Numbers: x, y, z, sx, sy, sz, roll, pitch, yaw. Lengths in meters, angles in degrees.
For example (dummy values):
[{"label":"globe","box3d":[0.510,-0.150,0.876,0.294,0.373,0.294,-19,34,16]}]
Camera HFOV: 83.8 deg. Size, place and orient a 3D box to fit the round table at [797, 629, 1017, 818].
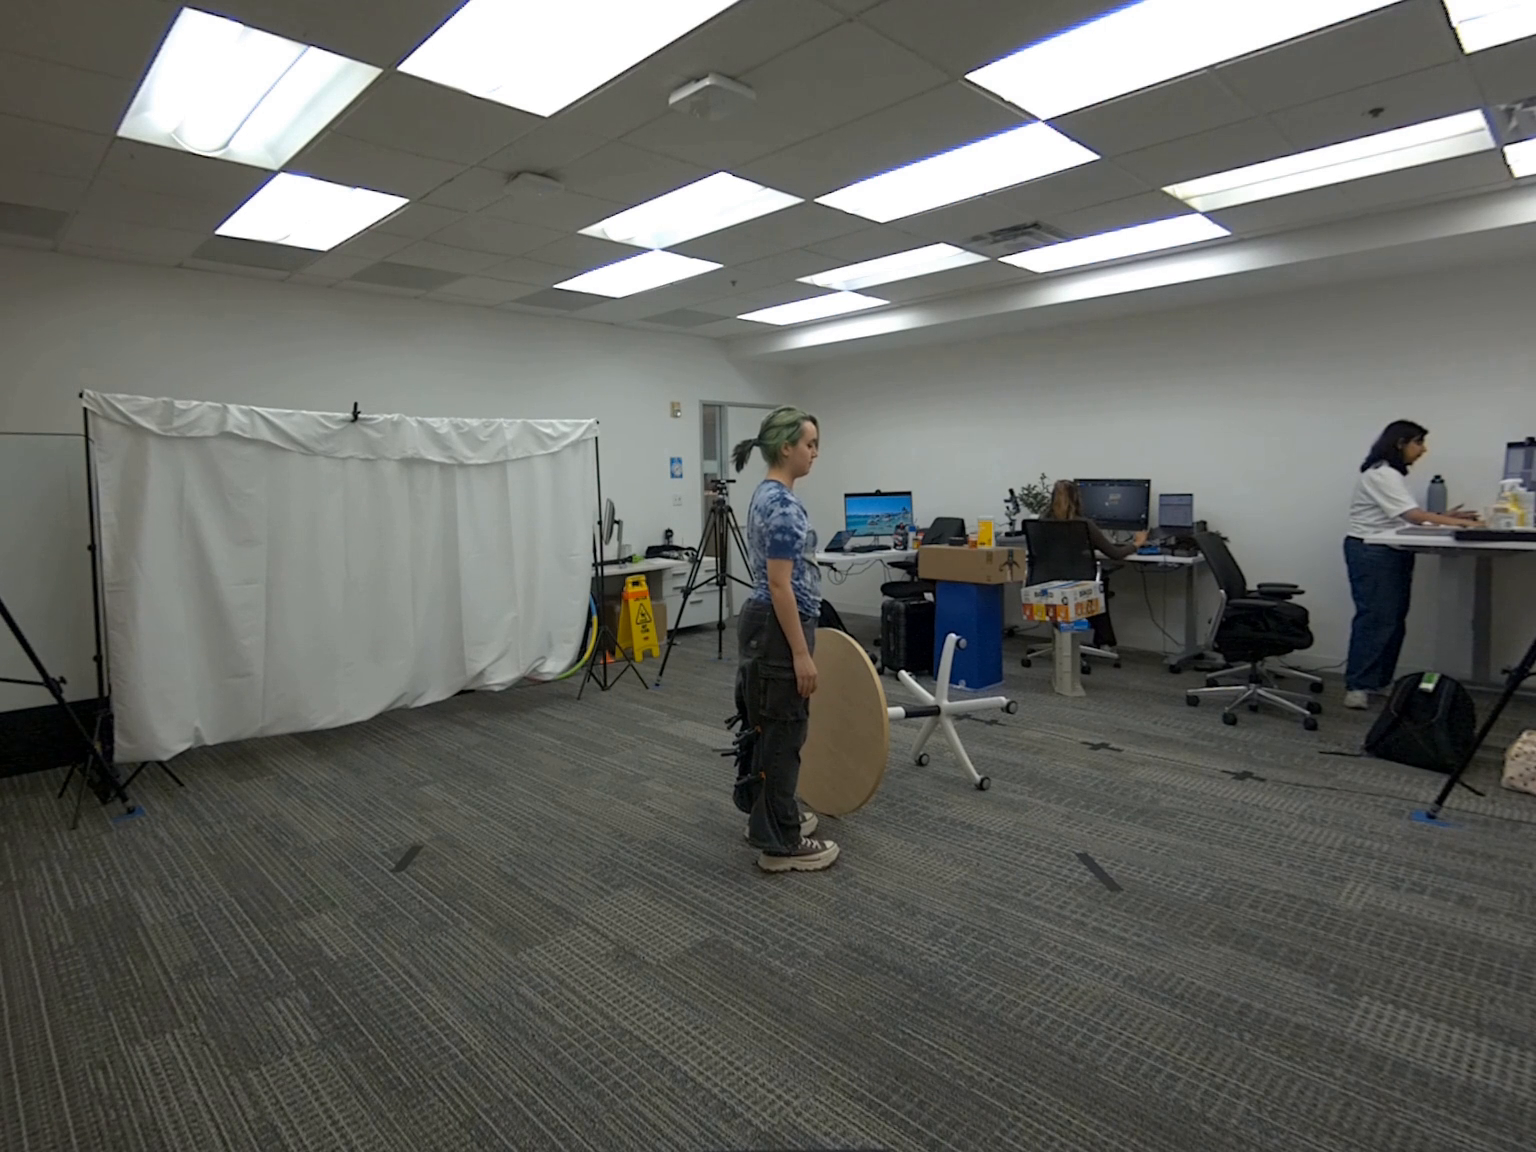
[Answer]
[{"label":"round table","box3d":[0.568,0.619,3.790,0.772,0.763,0.785,3,2,-32]}]
